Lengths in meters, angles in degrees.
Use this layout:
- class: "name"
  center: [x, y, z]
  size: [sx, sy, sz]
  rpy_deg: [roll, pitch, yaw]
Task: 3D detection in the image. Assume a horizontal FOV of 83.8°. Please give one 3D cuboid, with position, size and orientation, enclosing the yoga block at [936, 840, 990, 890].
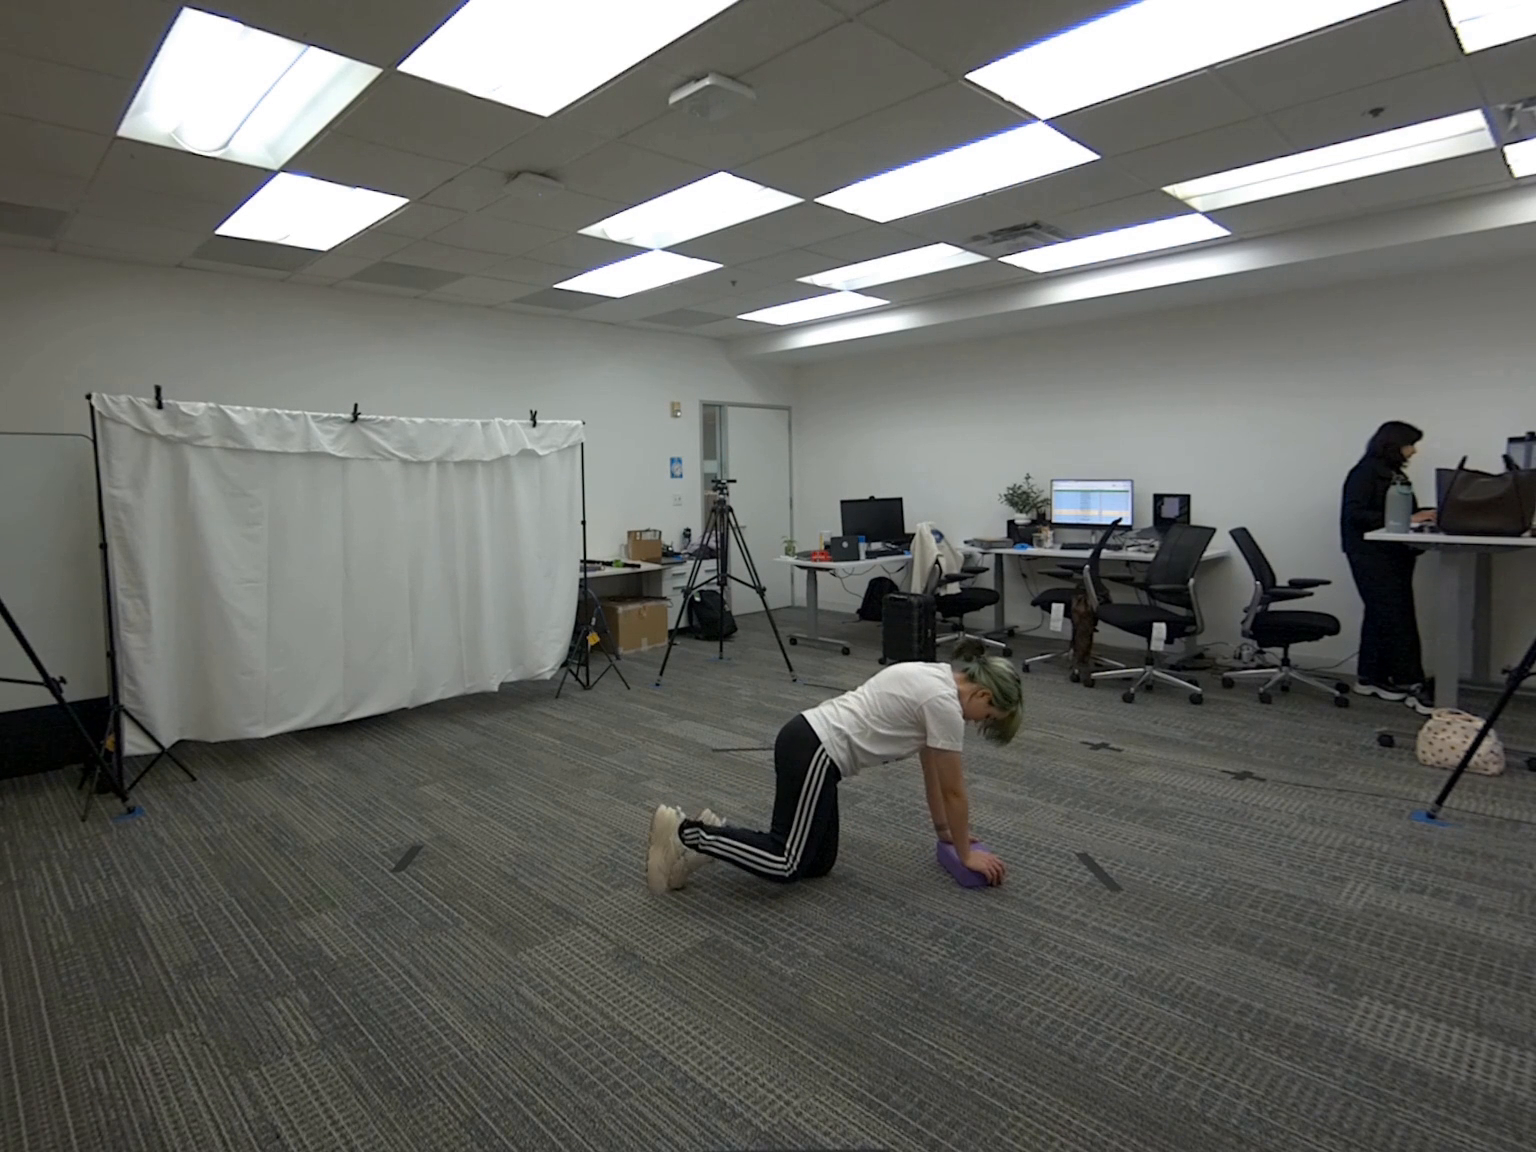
- class: "yoga block"
  center: [0.706, 1.003, 3.007]
  size: [0.147, 0.076, 0.232]
  rpy_deg: [-1, 5, -11]
